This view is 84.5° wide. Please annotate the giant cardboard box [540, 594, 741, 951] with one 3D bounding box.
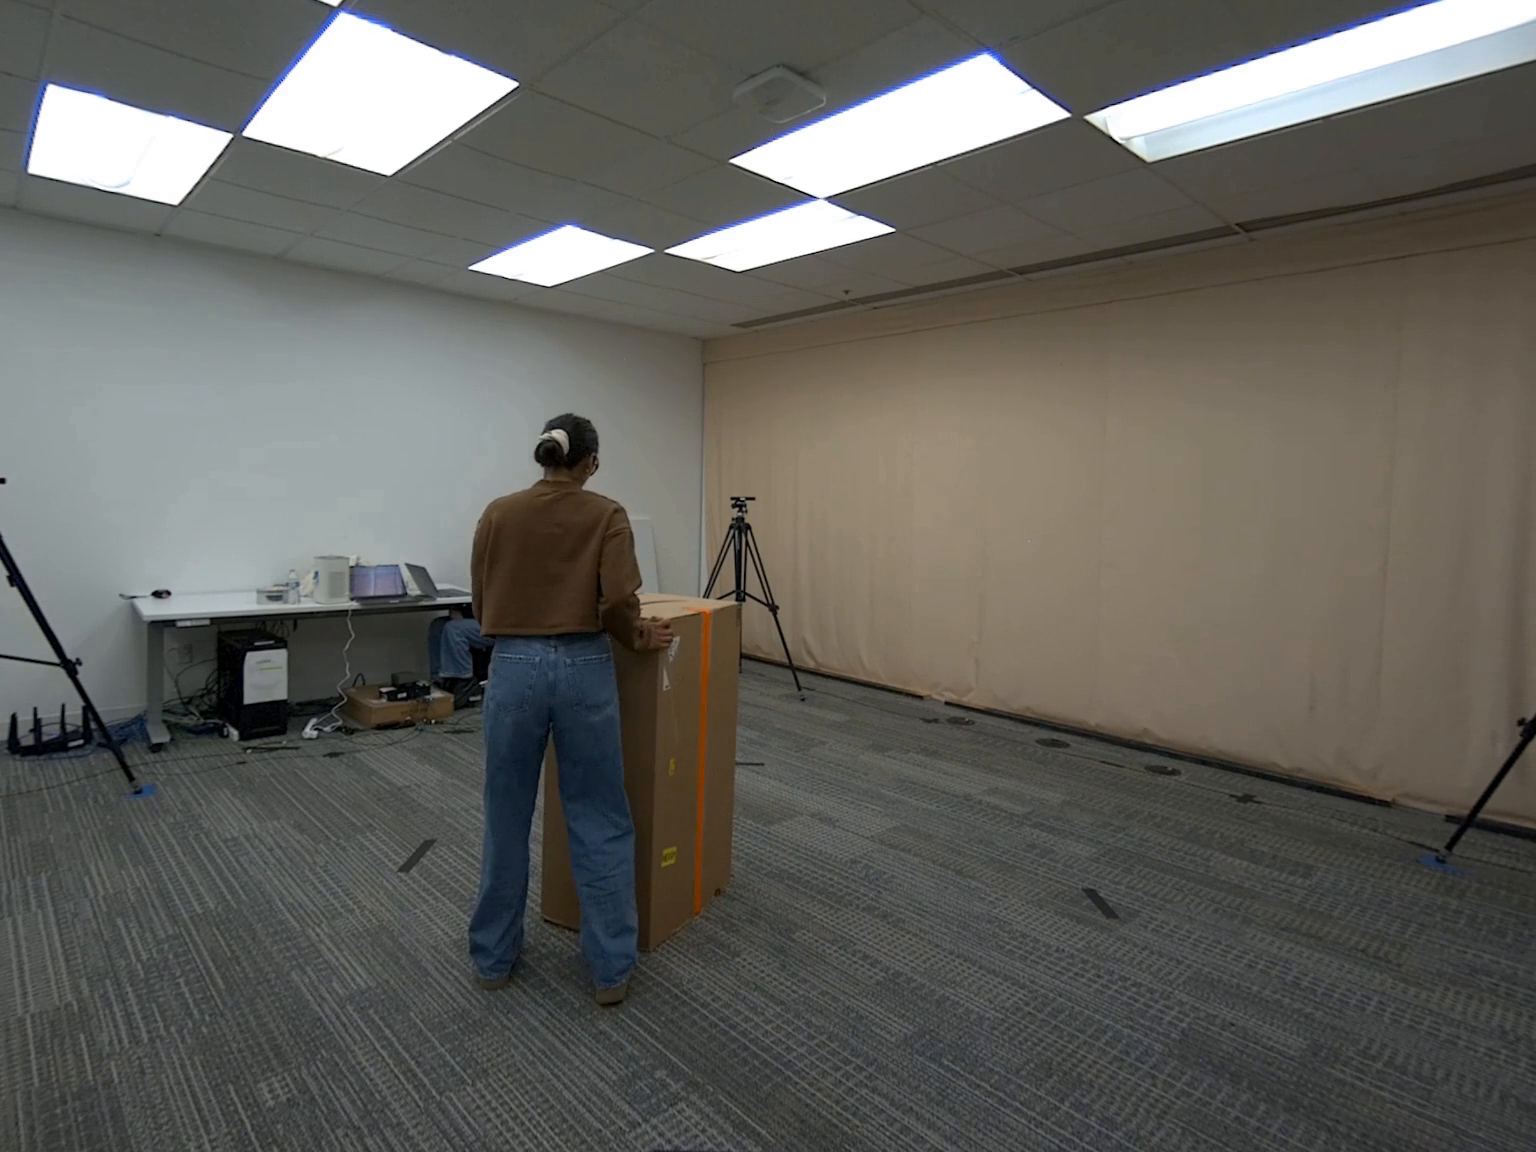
[{"bbox_3d":[-0.416,0.610,2.889,0.435,1.023,0.567,4,4,26],"label":"giant cardboard box"}]
